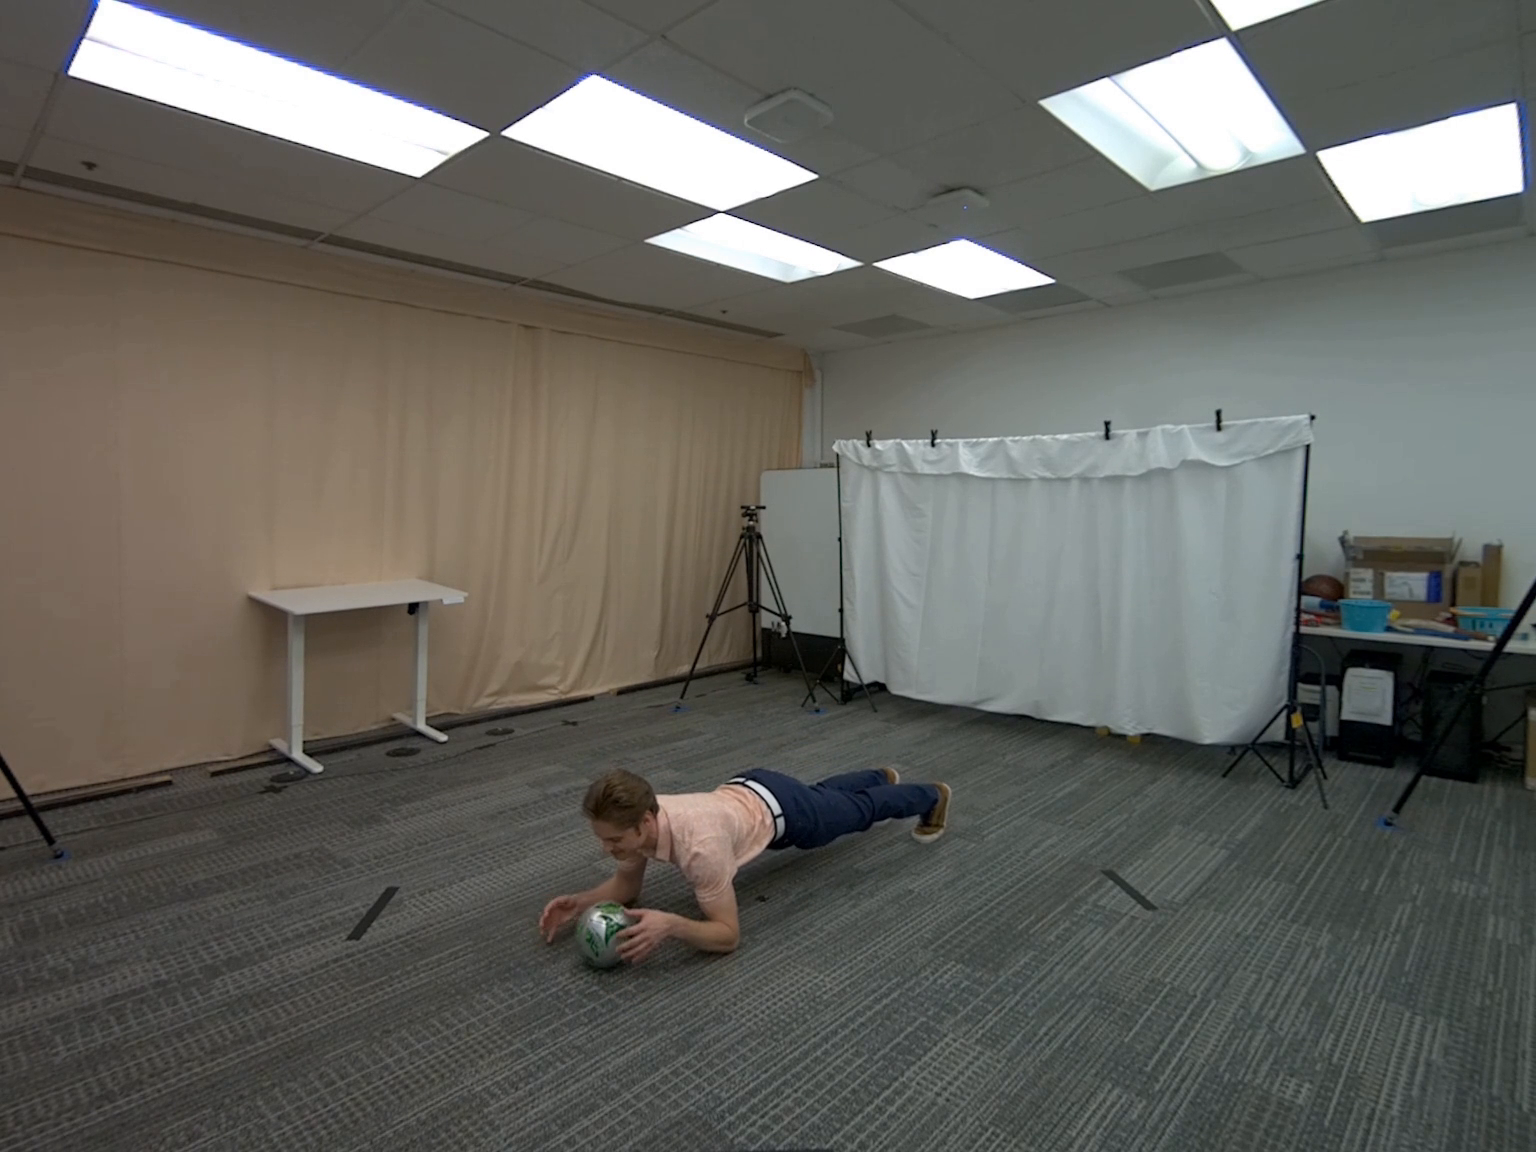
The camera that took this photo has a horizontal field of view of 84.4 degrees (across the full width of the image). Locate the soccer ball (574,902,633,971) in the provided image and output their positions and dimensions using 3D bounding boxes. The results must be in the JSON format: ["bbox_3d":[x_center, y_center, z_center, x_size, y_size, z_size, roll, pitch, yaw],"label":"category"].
[{"bbox_3d":[-0.492,1.082,2.570,0.187,0.187,0.188,0,4,-2],"label":"soccer ball"}]
